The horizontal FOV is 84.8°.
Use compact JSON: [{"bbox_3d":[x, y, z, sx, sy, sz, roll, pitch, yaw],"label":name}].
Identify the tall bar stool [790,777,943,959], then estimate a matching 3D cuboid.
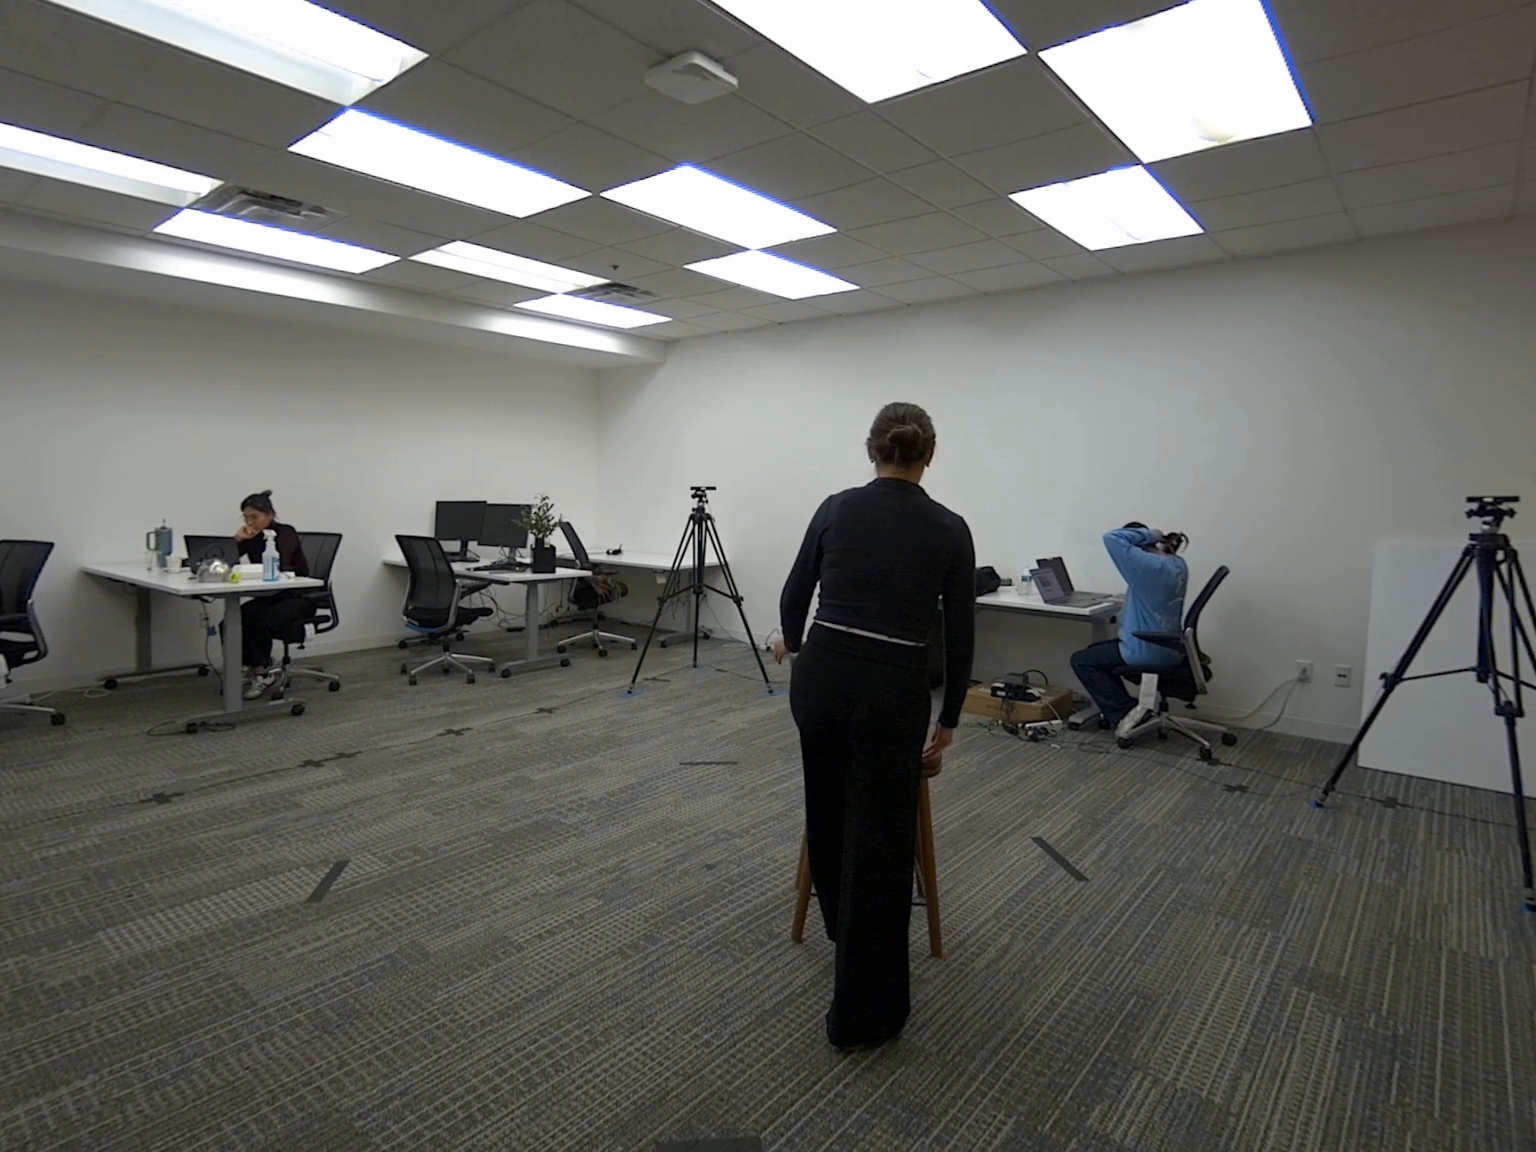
[{"bbox_3d":[0.311,0.674,2.747,0.471,0.887,0.454,0,3,6],"label":"tall bar stool"}]
